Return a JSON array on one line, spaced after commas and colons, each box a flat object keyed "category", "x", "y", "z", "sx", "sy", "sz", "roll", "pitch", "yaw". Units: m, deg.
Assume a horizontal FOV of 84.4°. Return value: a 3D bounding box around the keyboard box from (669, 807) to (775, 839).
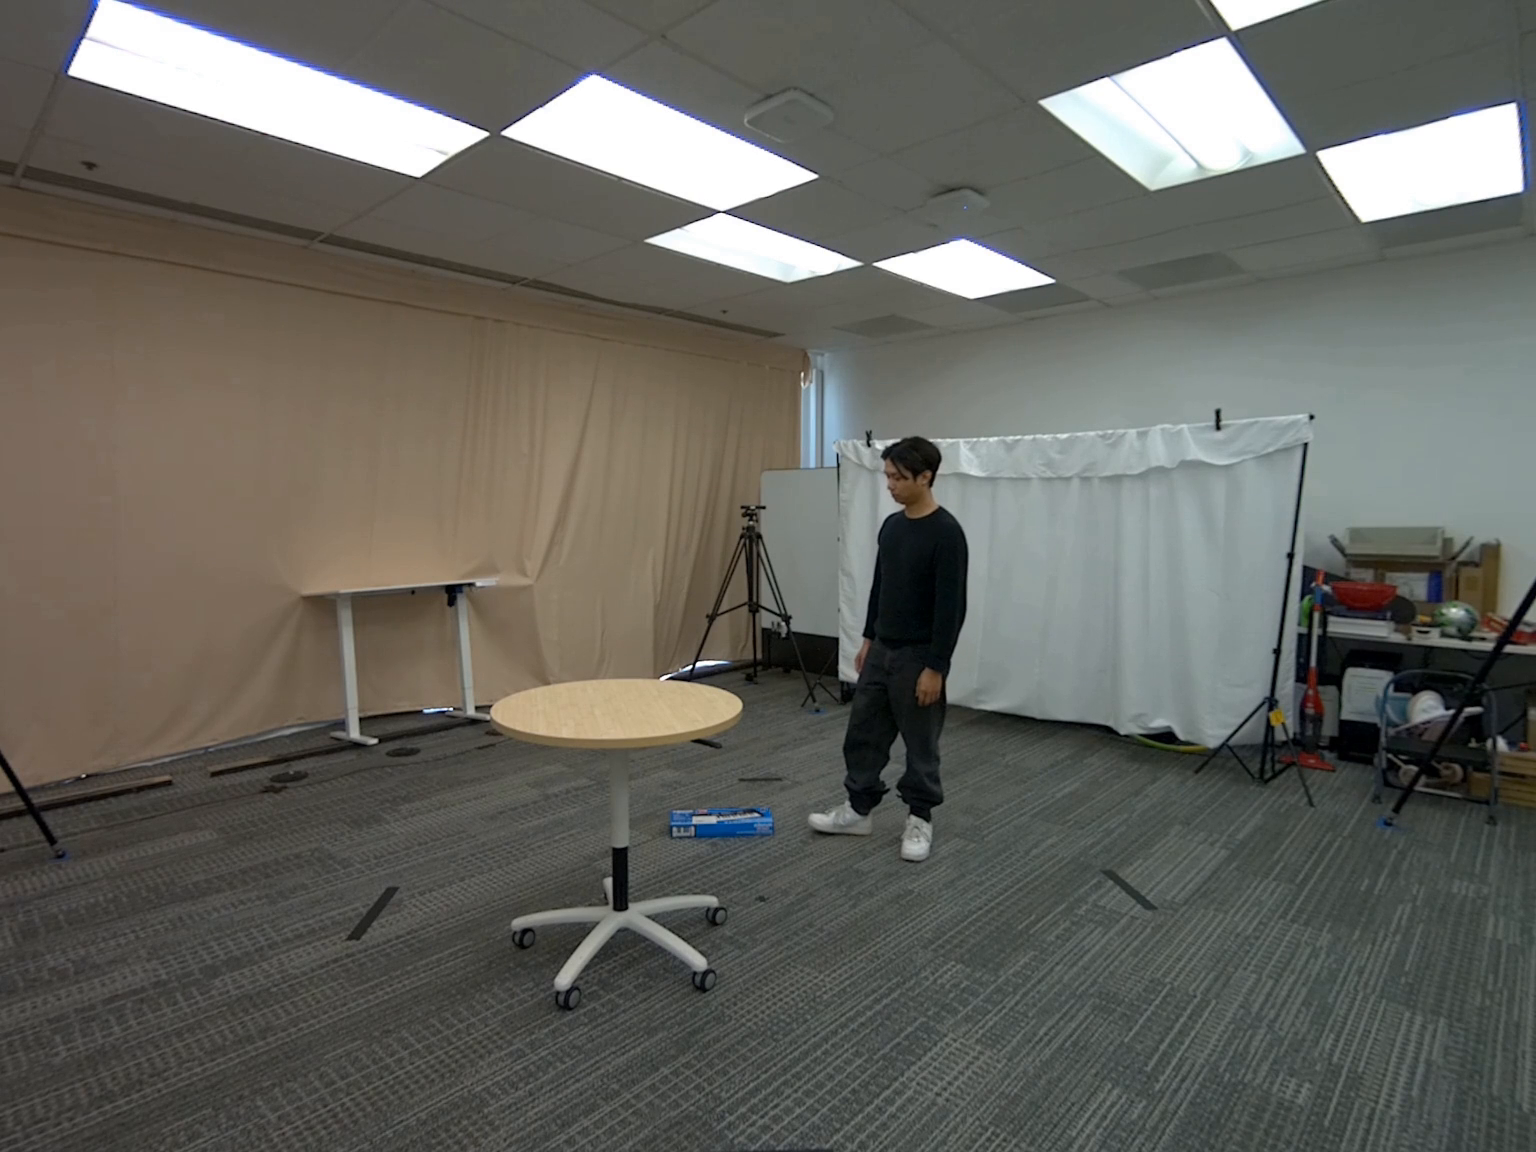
[{"category": "keyboard box", "x": -0.201, "y": 1.066, "z": 3.631, "sx": 0.435, "sy": 0.059, "sz": 0.177, "roll": -1, "pitch": 4, "yaw": -4}]
